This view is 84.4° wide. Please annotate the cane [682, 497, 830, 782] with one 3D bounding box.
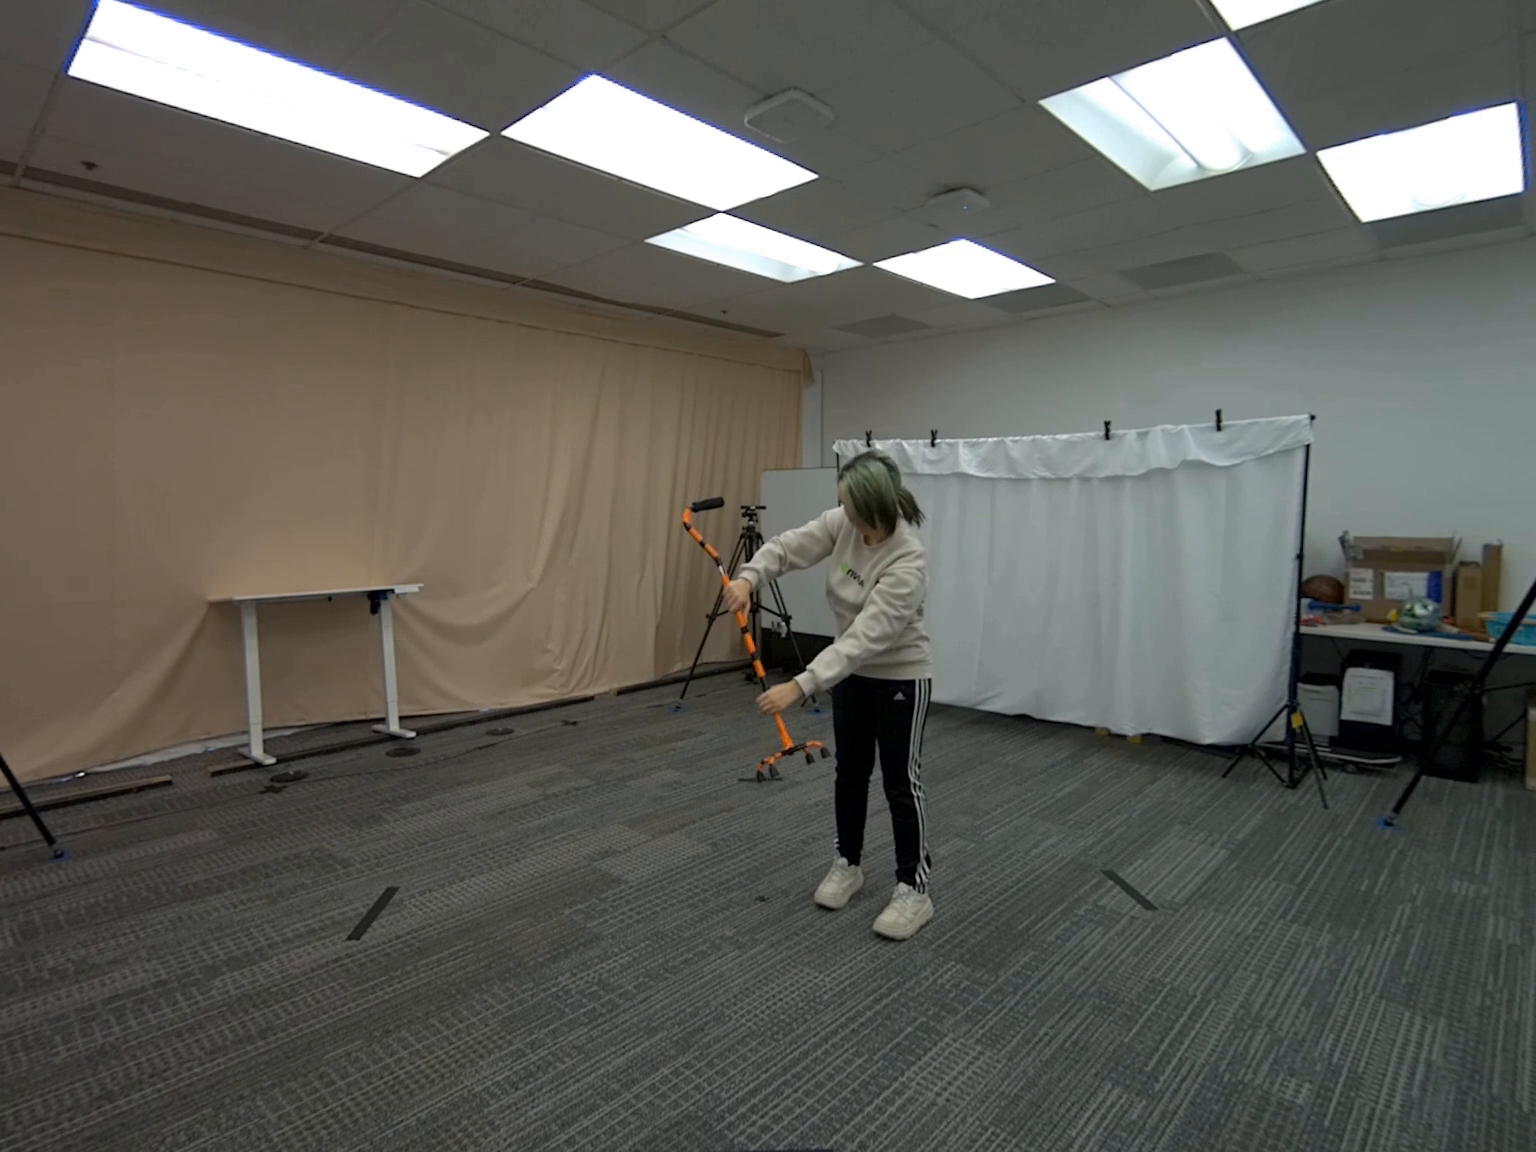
[{"bbox_3d":[-0.079,0.188,2.668,0.202,0.920,0.153,-14,-15,-28],"label":"cane"}]
